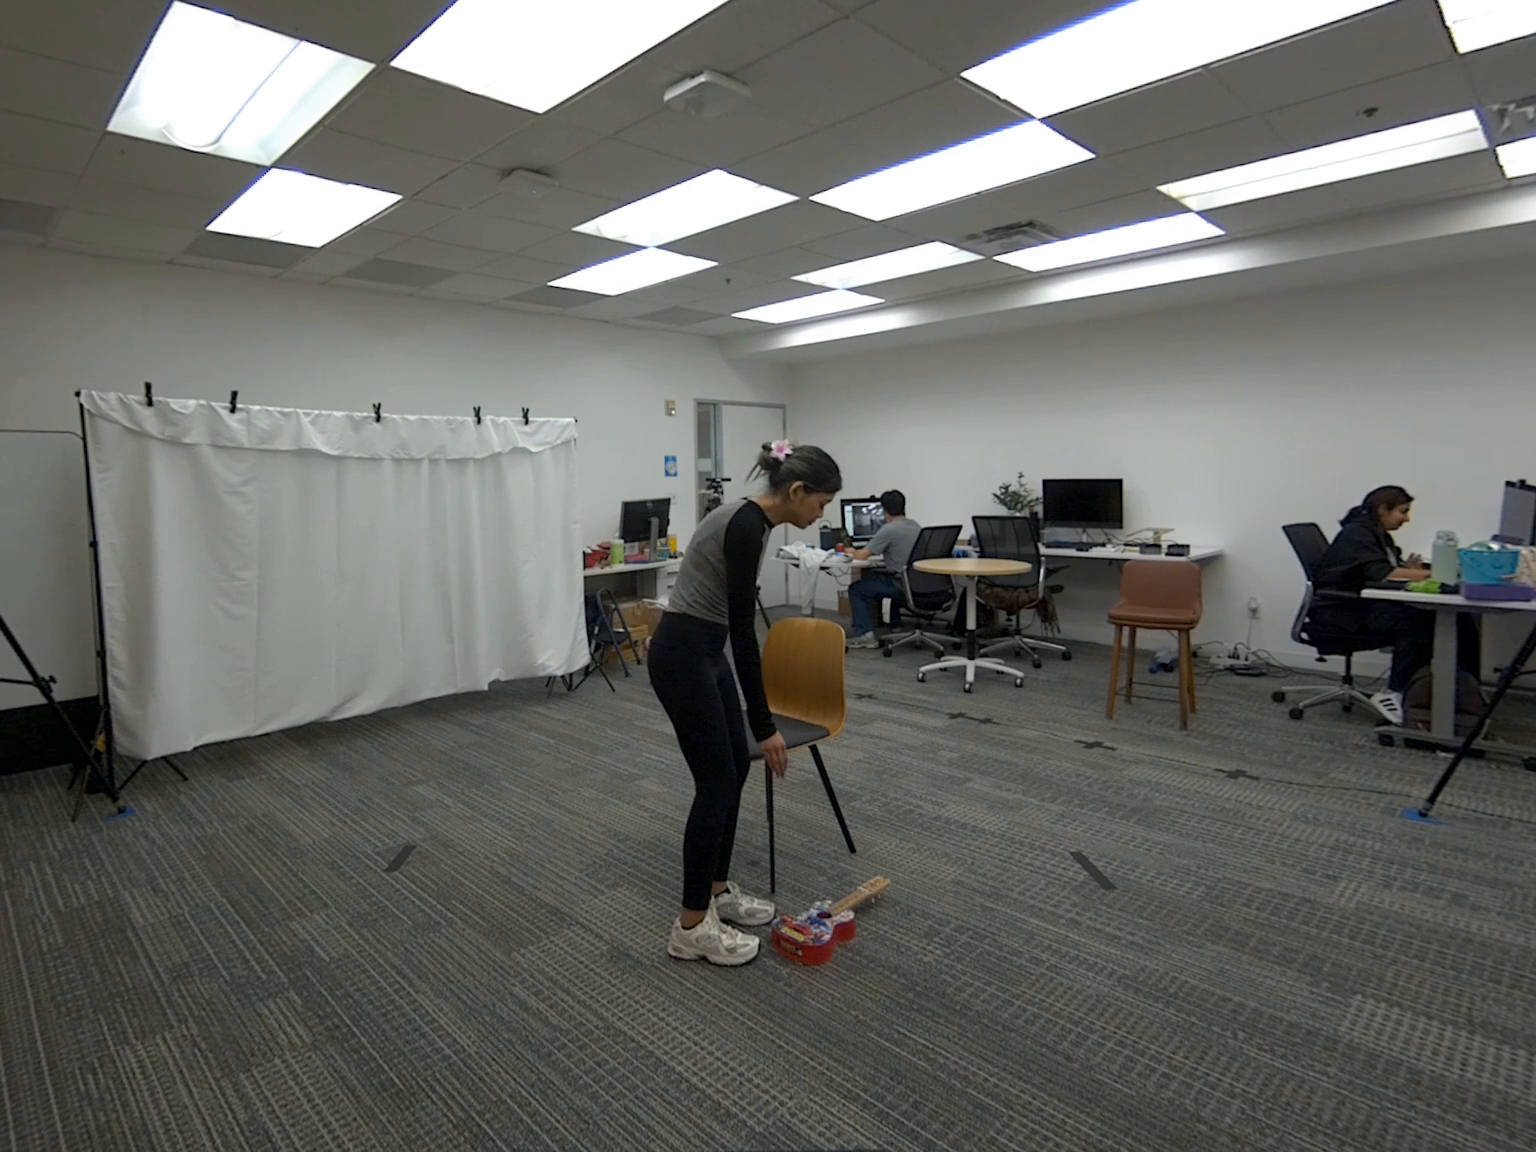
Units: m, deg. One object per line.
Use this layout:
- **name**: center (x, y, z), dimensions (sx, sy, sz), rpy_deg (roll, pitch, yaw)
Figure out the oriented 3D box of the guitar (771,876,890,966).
- **guitar**: center (0.242, 1.056, 2.639), dimensions (0.485, 0.070, 0.199), rpy_deg (-7, 9, -37)
